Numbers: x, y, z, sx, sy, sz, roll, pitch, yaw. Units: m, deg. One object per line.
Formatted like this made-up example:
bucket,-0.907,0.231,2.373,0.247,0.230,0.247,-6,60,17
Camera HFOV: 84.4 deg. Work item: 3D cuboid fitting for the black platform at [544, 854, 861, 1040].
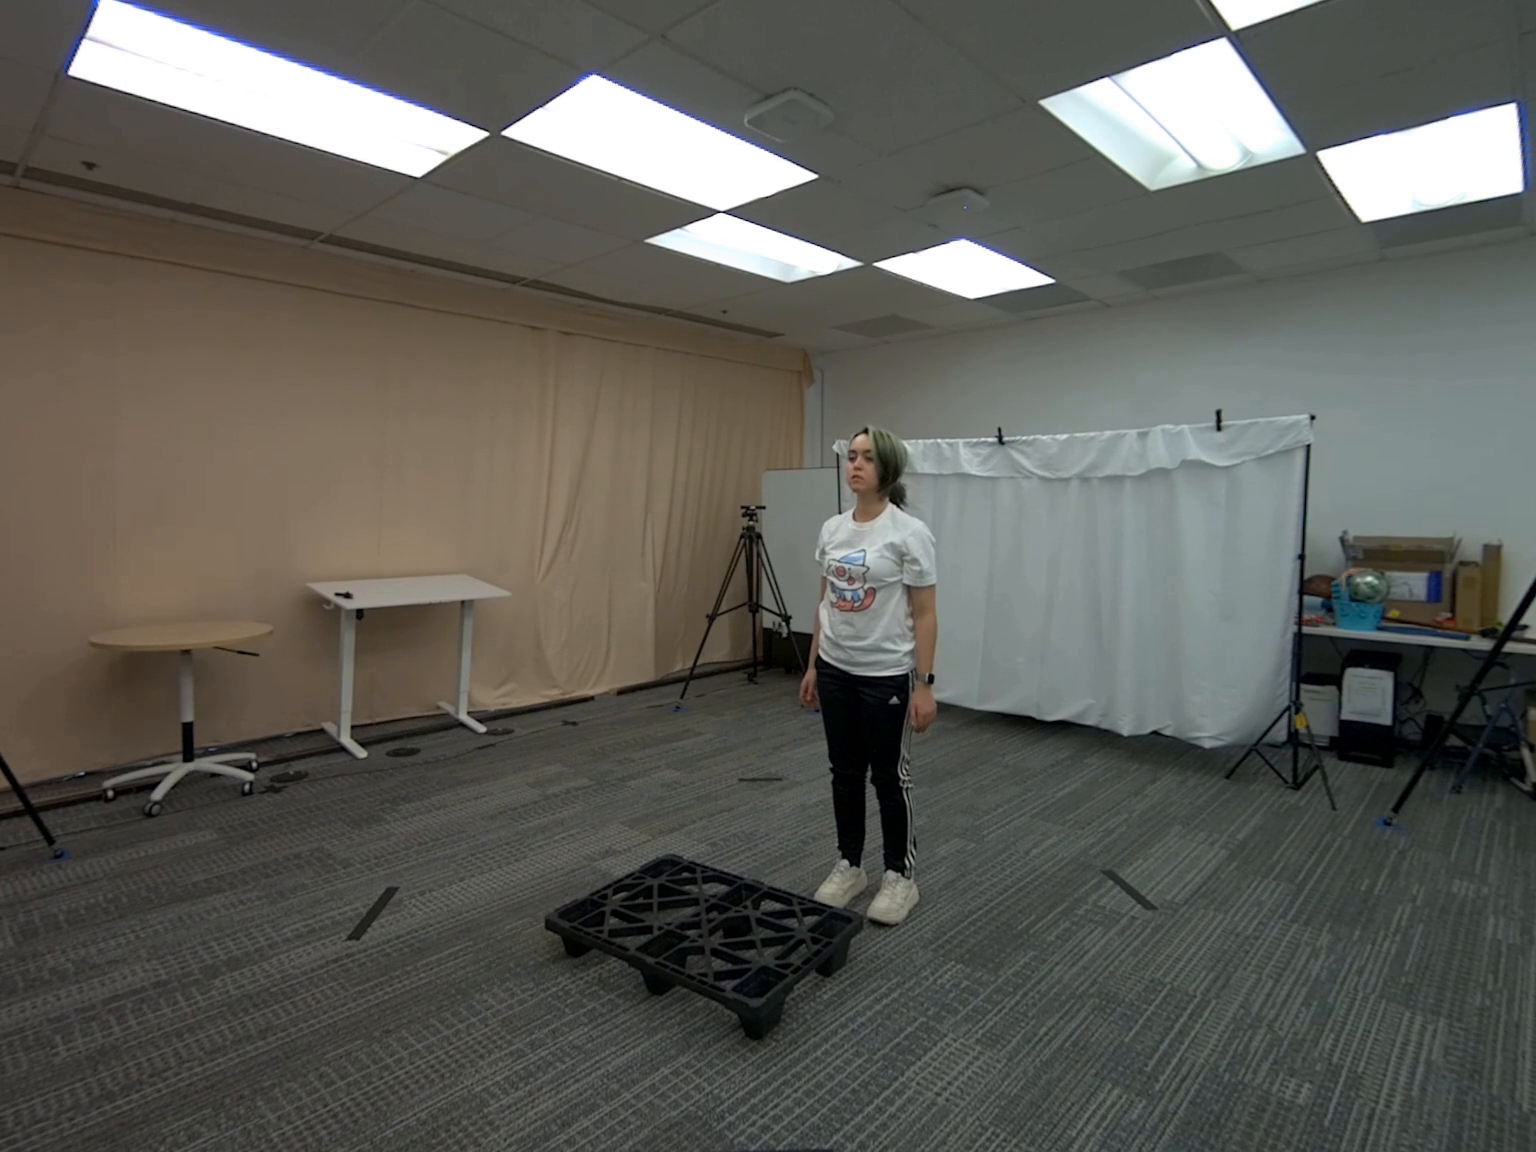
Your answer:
black platform,-0.197,1.111,2.590,0.831,0.143,0.588,3,6,35
